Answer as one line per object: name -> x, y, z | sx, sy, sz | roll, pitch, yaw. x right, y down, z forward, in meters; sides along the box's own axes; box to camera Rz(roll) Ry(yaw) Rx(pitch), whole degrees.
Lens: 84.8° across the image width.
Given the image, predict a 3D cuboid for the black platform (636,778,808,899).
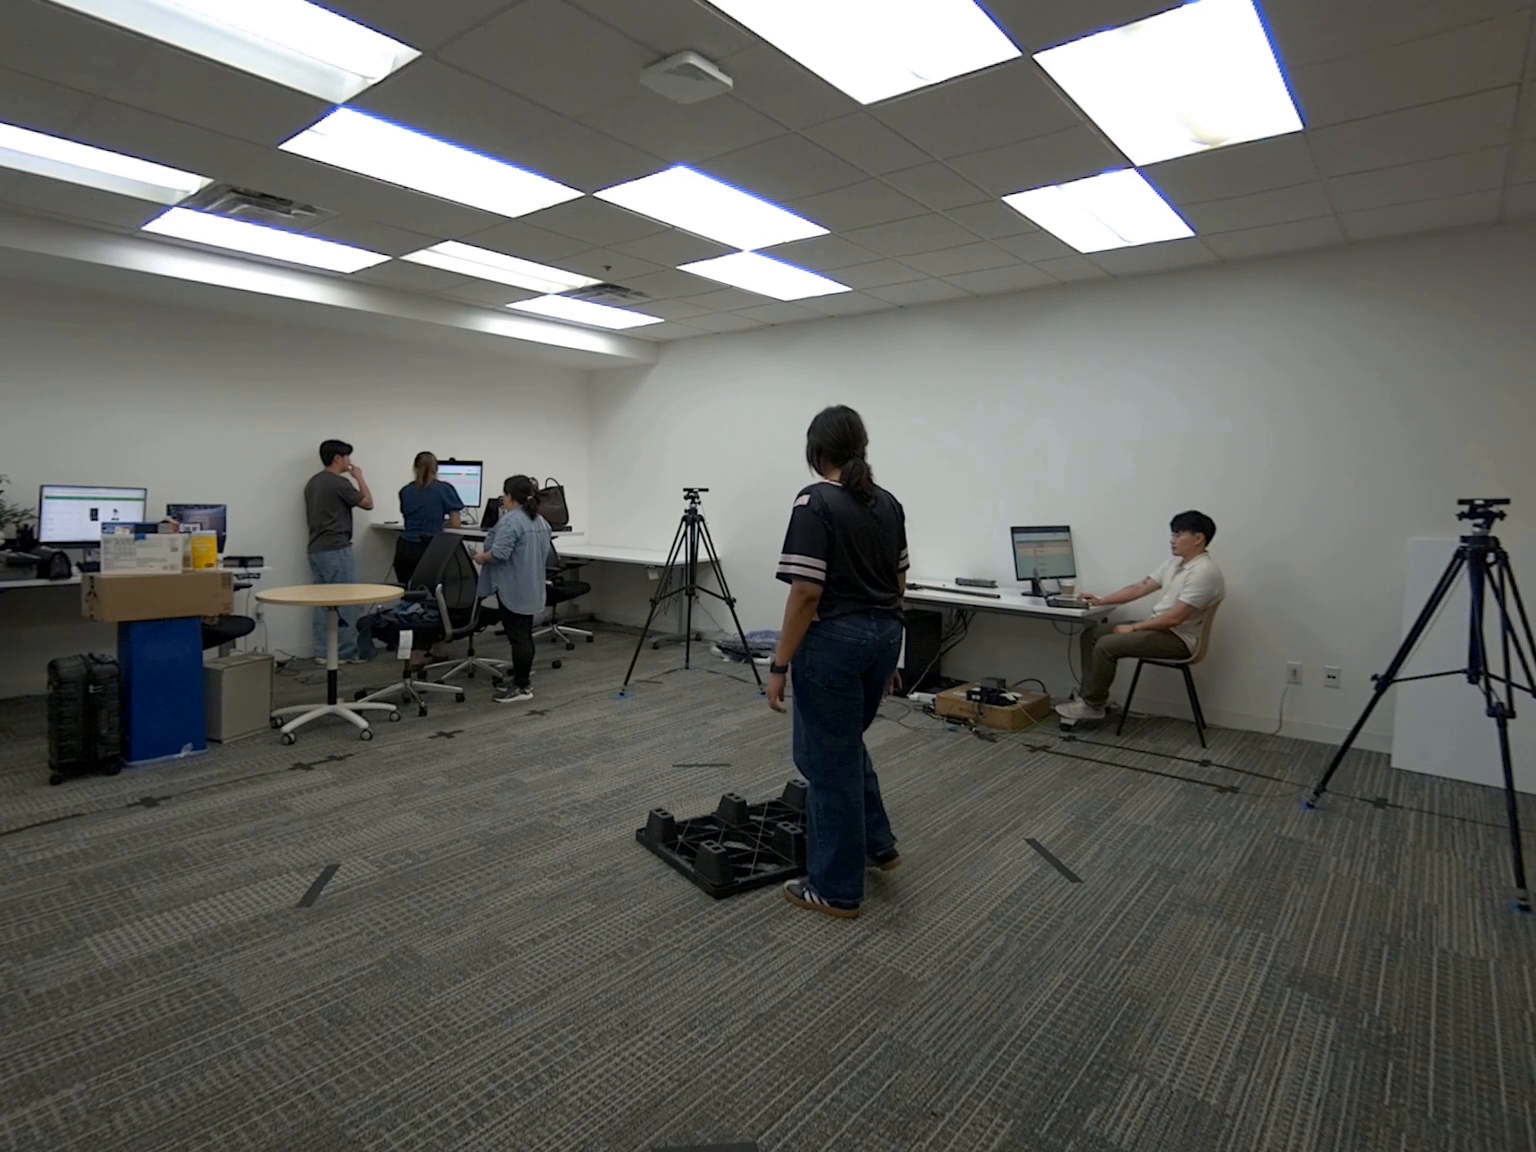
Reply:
black platform -> -0.045, 0.987, 3.324 | 0.782, 0.143, 0.625 | -3, 6, -35
